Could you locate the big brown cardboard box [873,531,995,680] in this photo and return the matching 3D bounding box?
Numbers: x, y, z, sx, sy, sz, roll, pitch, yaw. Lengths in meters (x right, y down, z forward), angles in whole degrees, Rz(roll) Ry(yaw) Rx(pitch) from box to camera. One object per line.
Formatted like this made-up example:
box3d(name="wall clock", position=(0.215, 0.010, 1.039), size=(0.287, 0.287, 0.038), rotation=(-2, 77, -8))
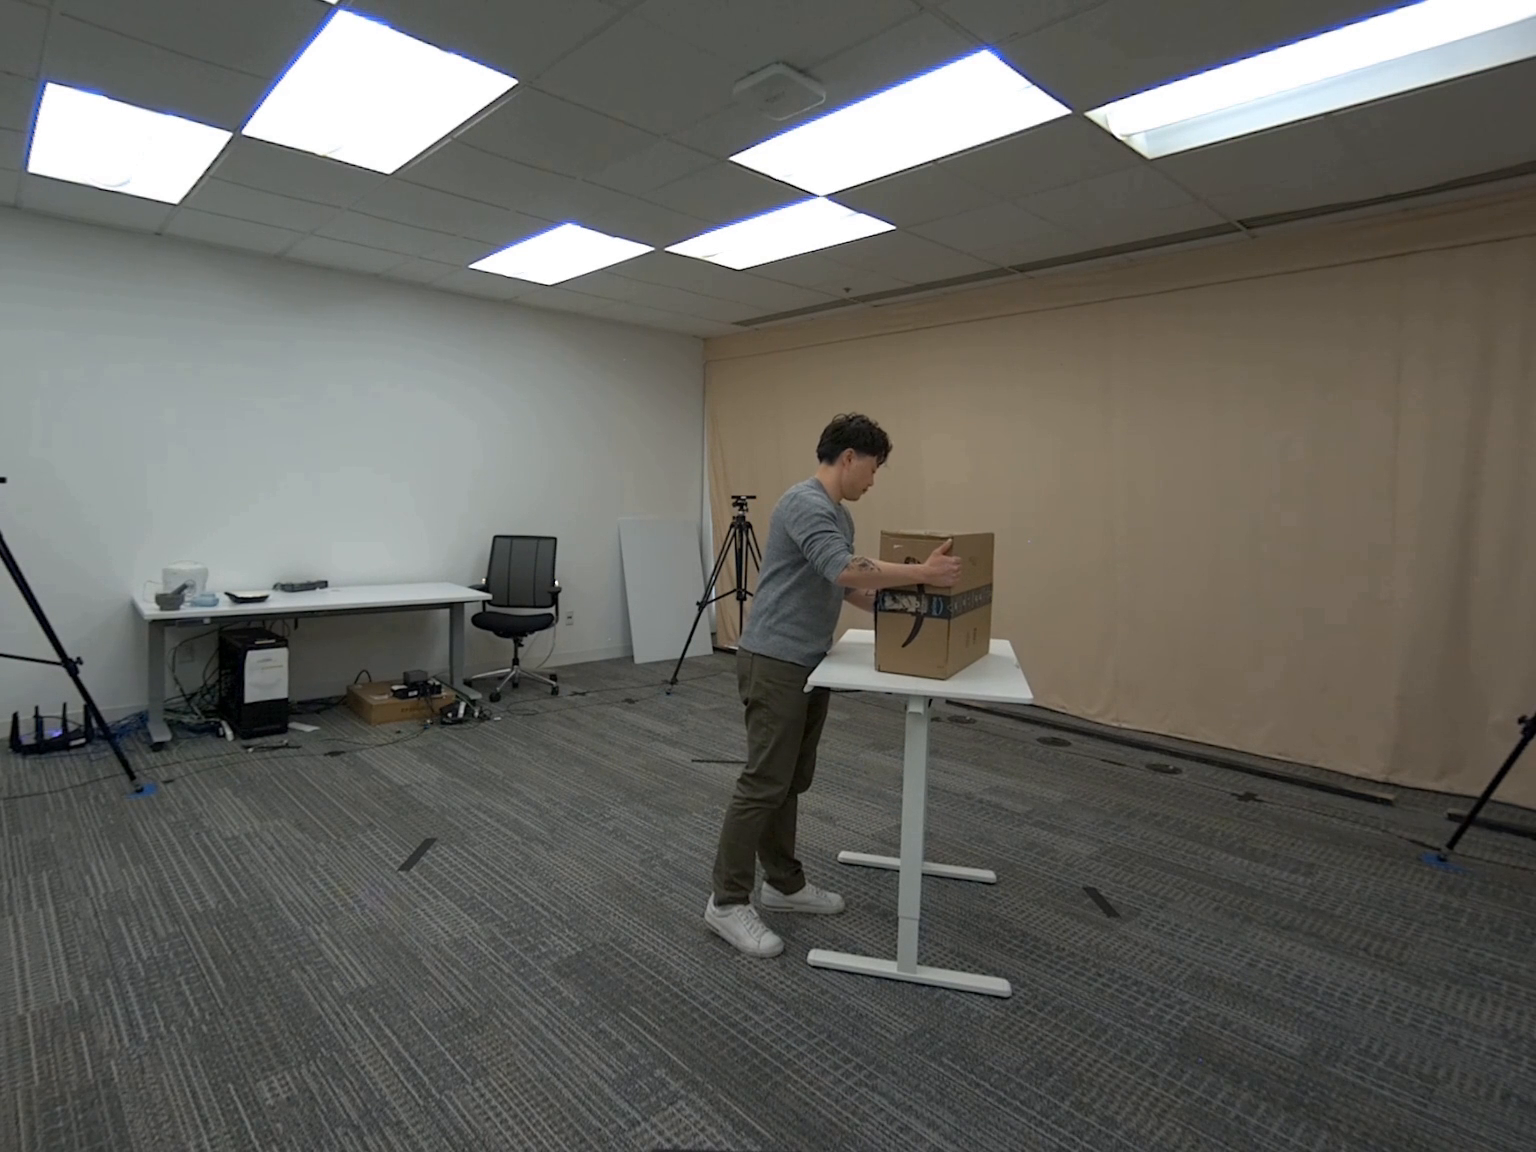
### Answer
box3d(name="big brown cardboard box", position=(0.537, 0.069, 2.674), size=(0.238, 0.416, 0.578), rotation=(4, 4, 28))
